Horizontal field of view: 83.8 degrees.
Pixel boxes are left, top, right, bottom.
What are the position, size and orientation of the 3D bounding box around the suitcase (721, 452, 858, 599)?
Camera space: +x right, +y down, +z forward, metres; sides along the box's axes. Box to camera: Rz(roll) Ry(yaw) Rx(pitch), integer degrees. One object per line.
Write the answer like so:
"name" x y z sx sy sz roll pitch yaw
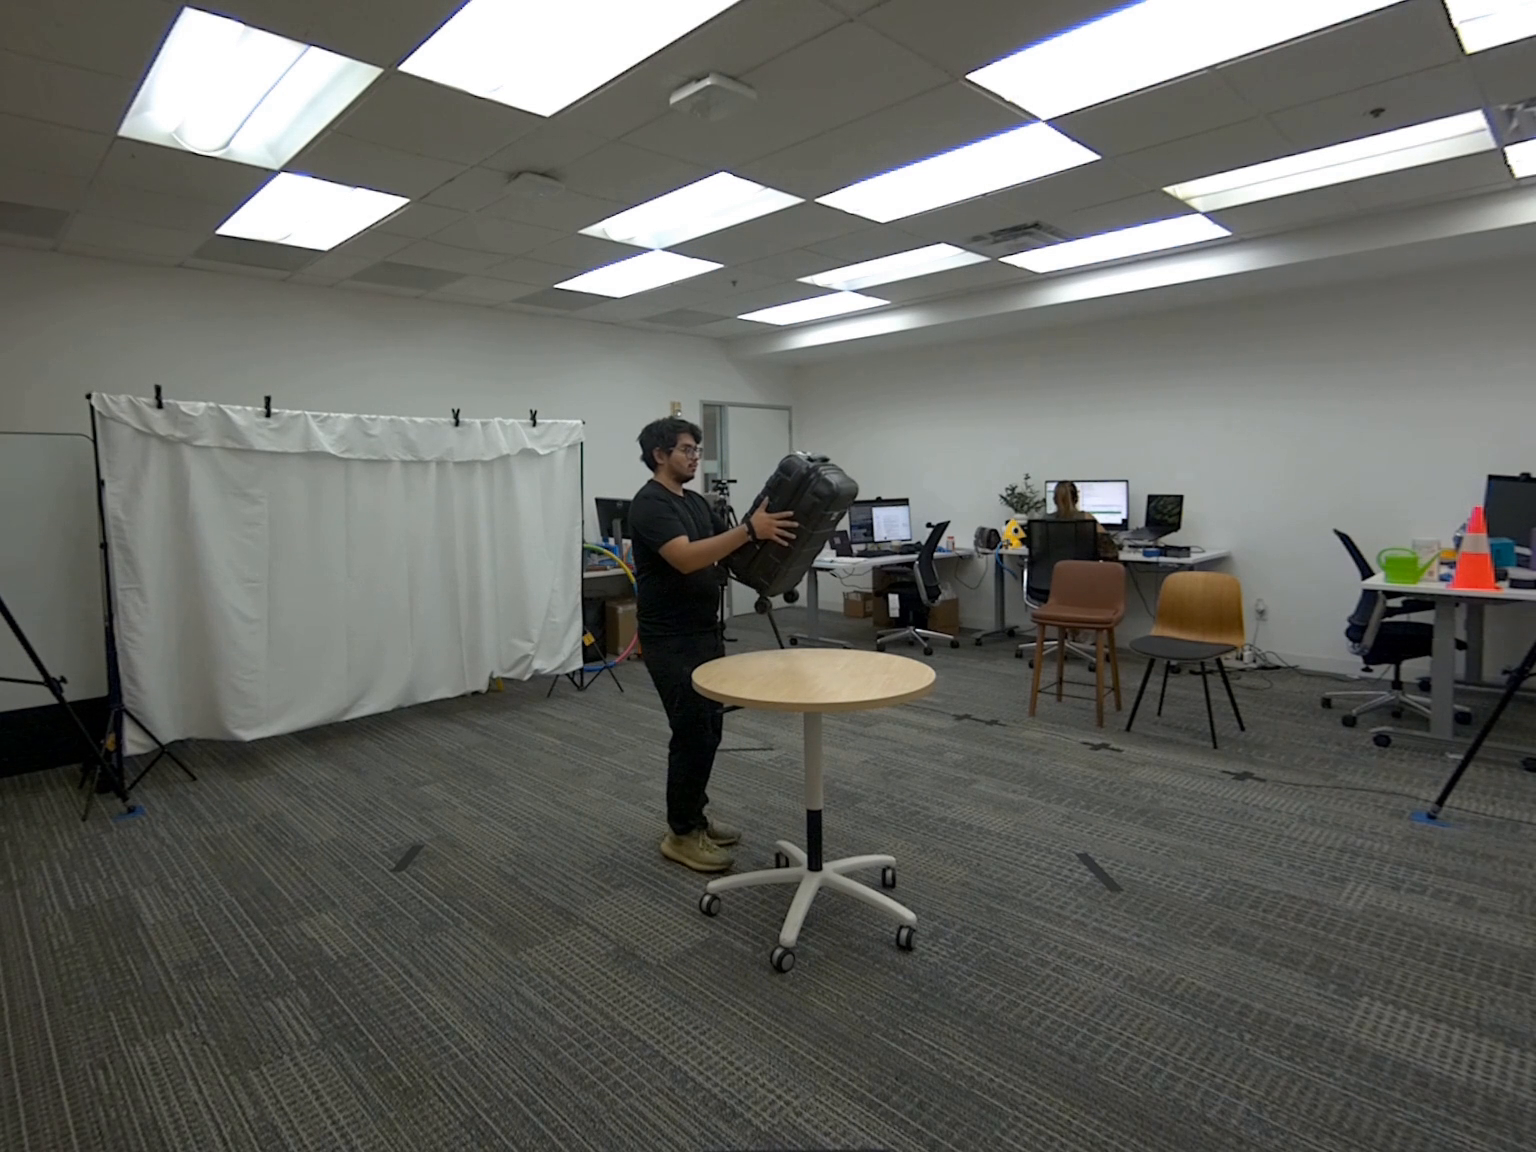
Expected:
"suitcase" 0.079 -0.179 3.105 0.253 0.547 0.369 38 16 14
